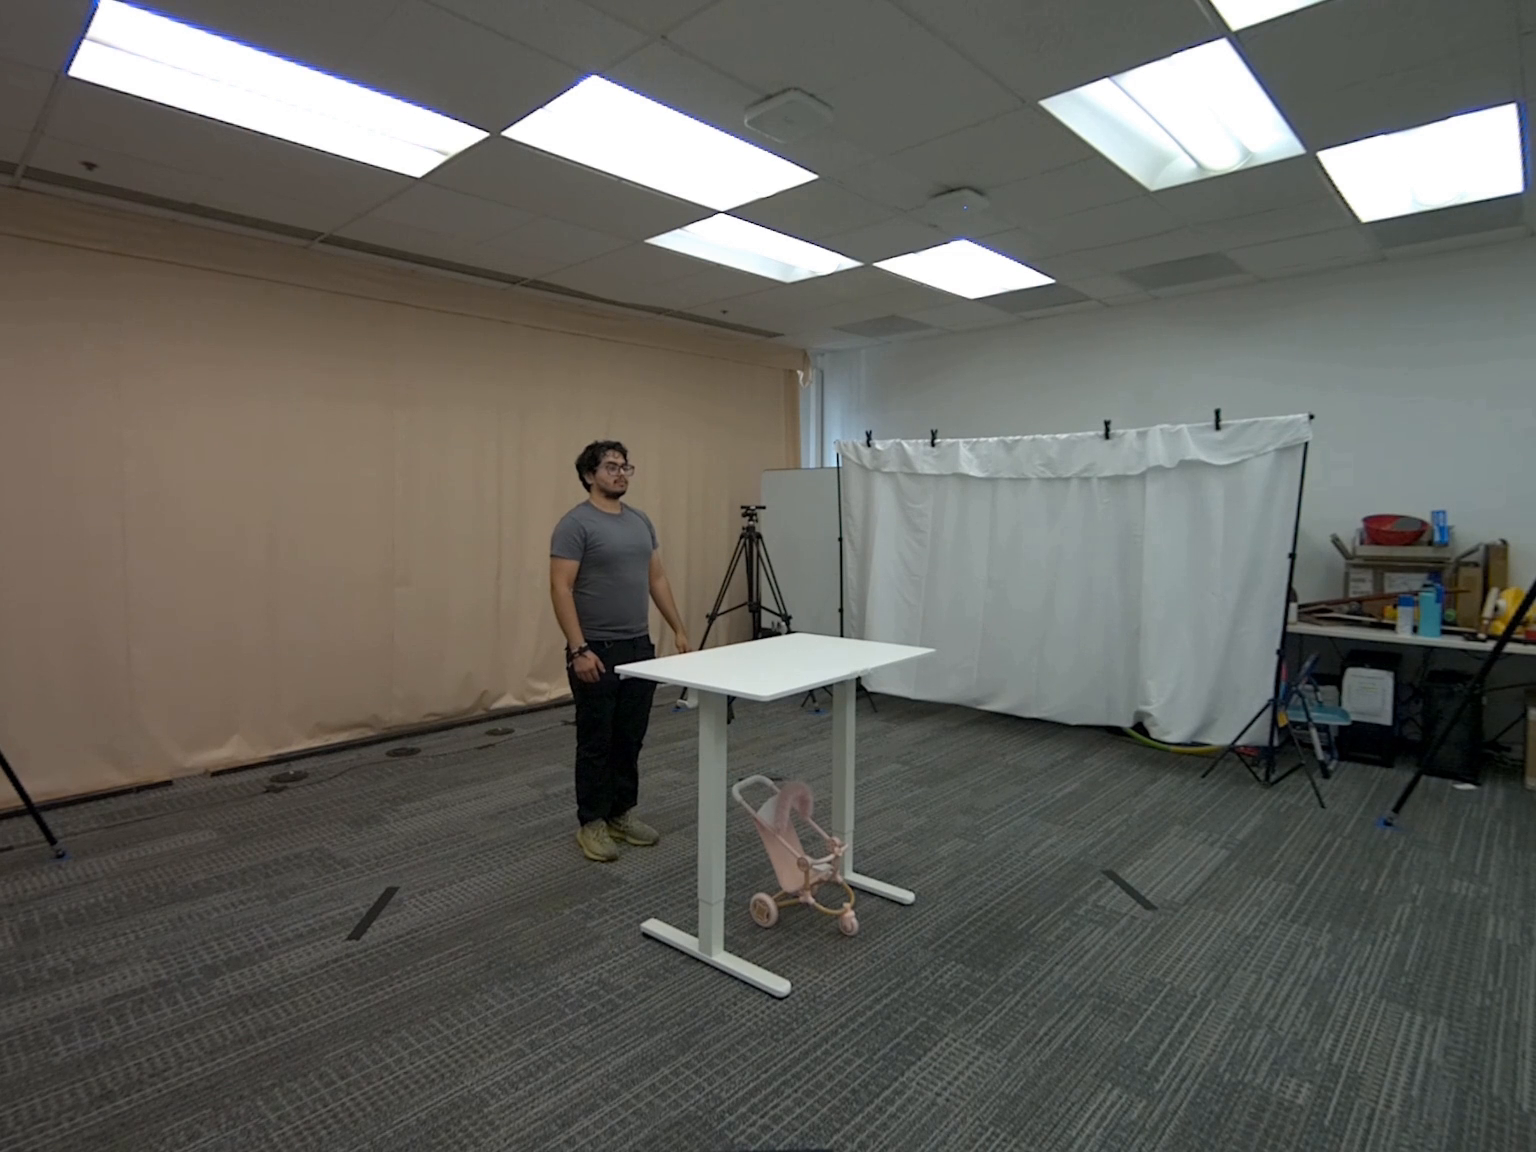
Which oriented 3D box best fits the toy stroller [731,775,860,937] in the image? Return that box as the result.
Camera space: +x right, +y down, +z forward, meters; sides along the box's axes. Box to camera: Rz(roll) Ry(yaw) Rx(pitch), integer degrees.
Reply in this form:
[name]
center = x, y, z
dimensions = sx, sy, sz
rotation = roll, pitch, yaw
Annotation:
[toy stroller]
center = 0.111, 0.936, 2.833
dimensions = 0.349, 0.539, 0.273
rotation = -20, -10, 40
